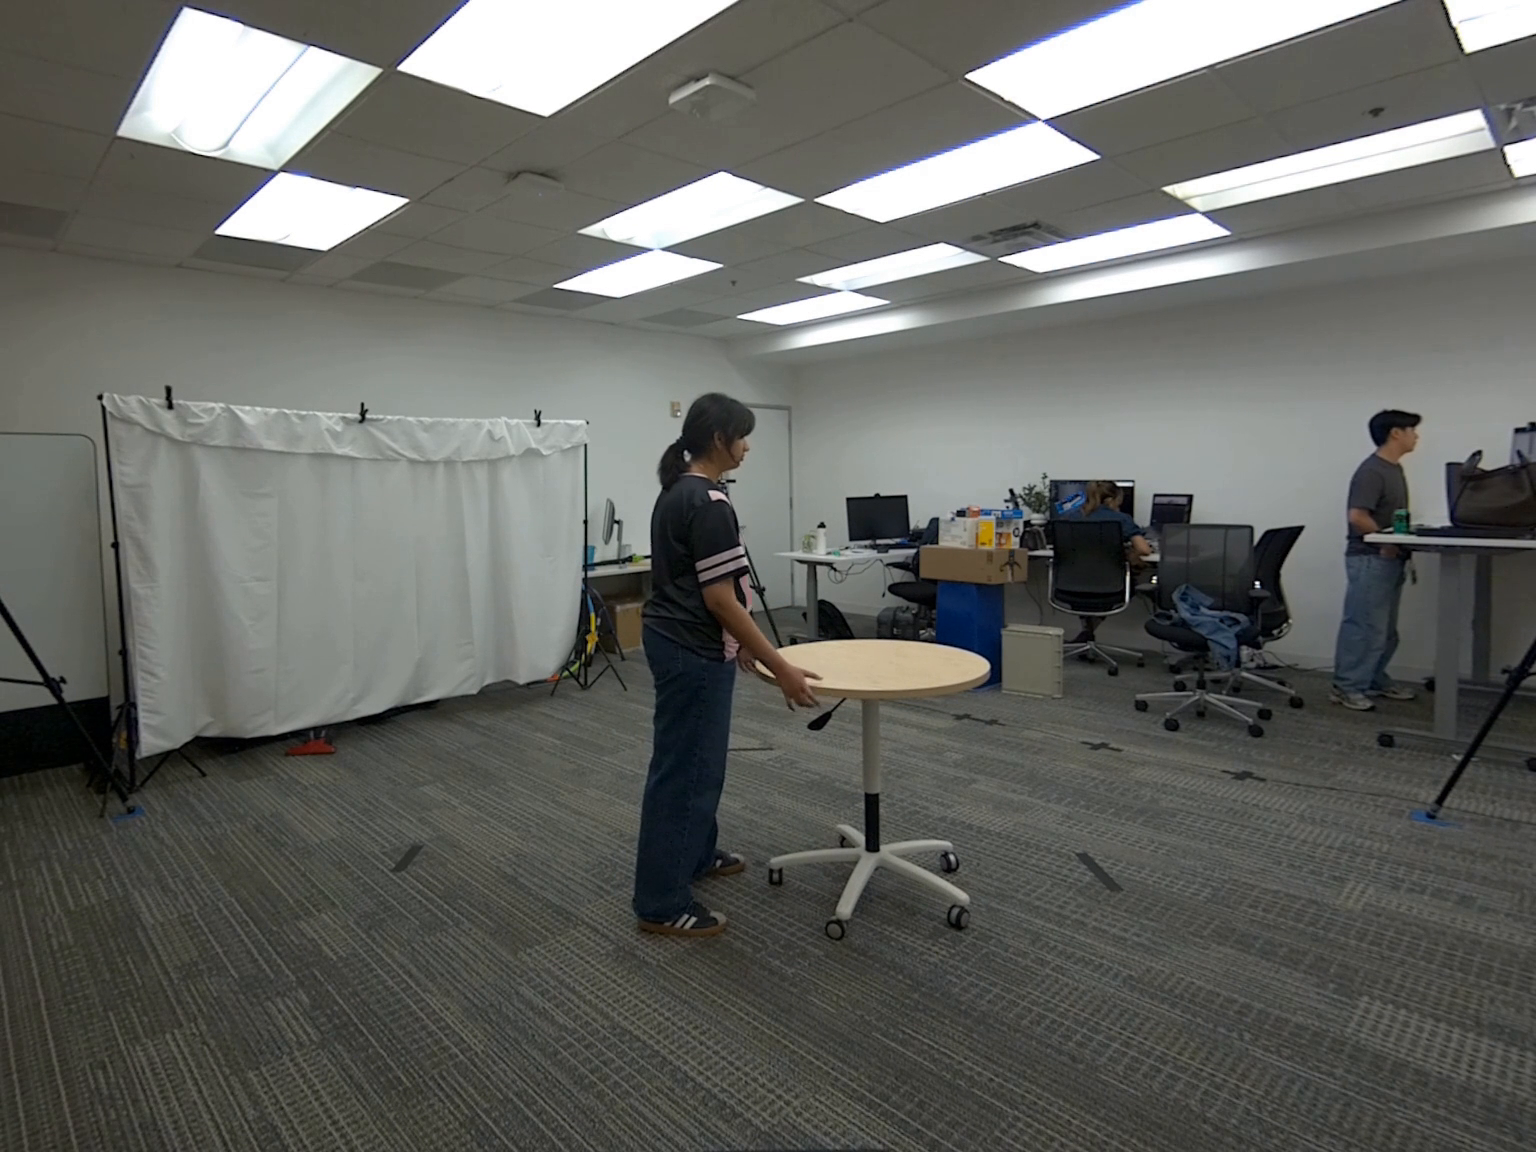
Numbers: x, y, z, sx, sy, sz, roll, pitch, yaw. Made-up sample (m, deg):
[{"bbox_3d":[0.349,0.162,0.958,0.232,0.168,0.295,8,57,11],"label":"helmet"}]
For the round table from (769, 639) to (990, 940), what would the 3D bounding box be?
[{"bbox_3d":[0.357,0.676,2.868,0.763,0.791,0.768,-2,5,-2],"label":"round table"}]
